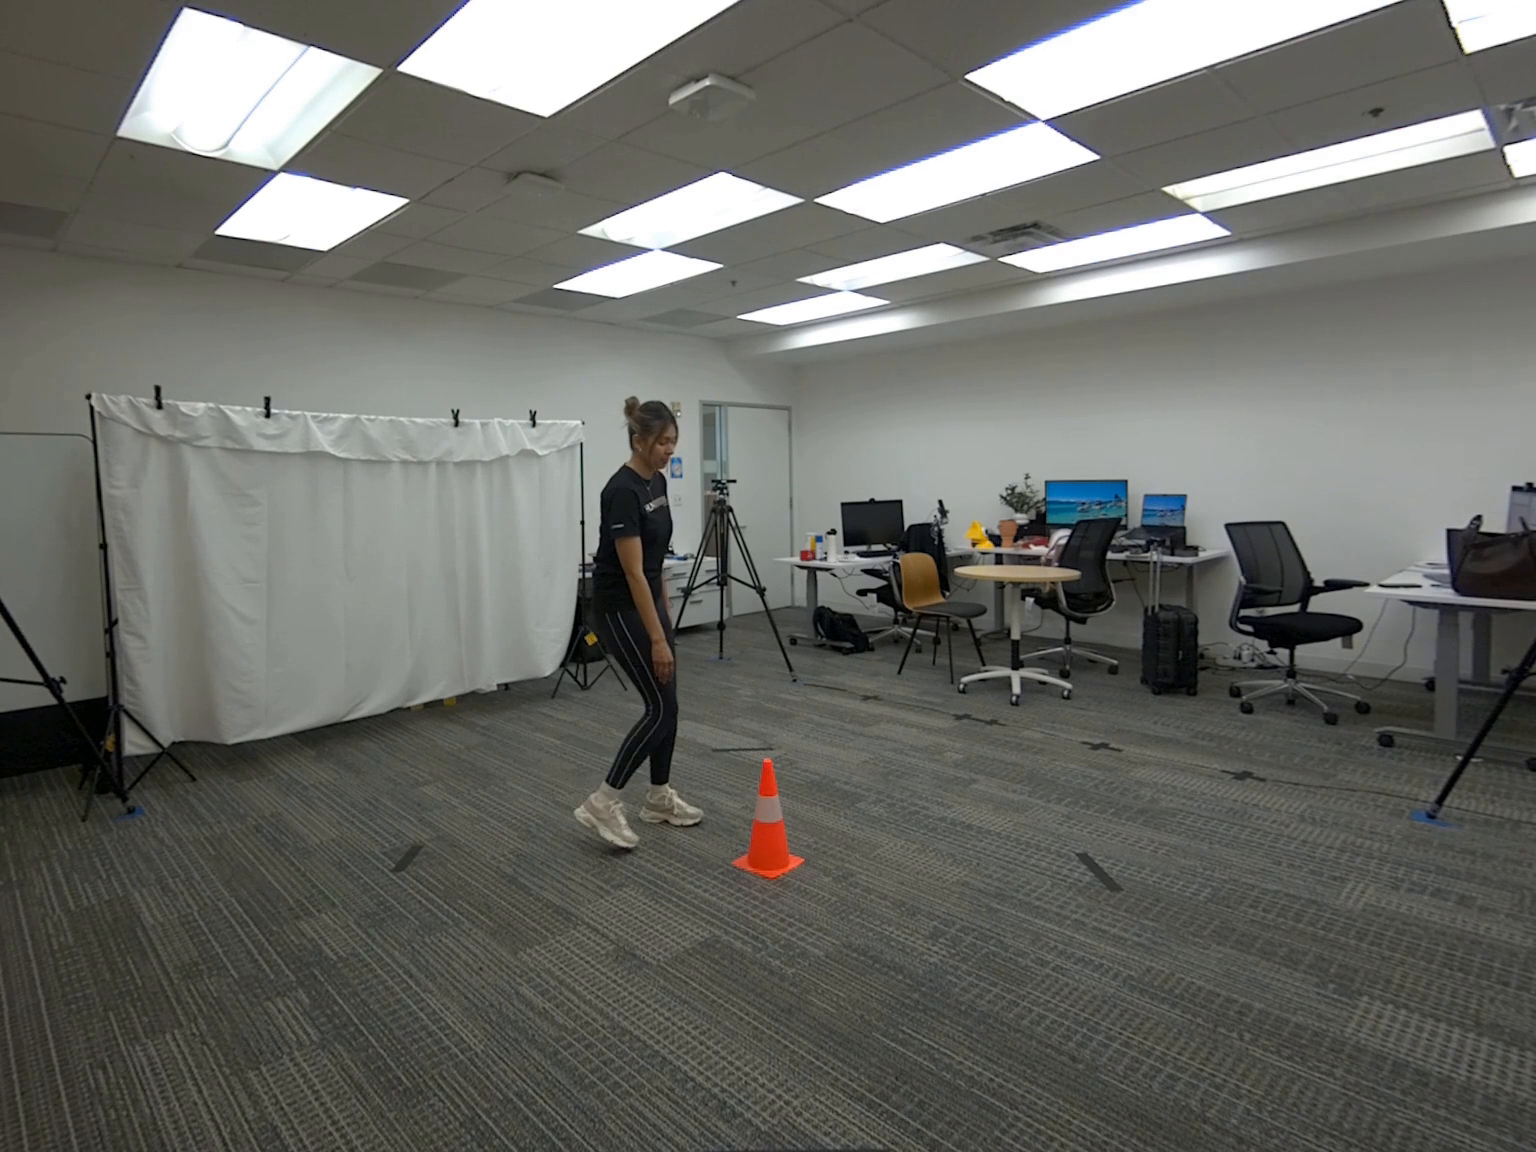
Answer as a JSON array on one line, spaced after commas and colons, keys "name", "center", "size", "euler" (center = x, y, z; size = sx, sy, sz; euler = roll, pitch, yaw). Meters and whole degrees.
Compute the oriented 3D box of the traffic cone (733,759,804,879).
[{"name": "traffic cone", "center": [0.006, 0.863, 3.104], "size": [0.211, 0.382, 0.198], "euler": [4, 7, 39]}]
